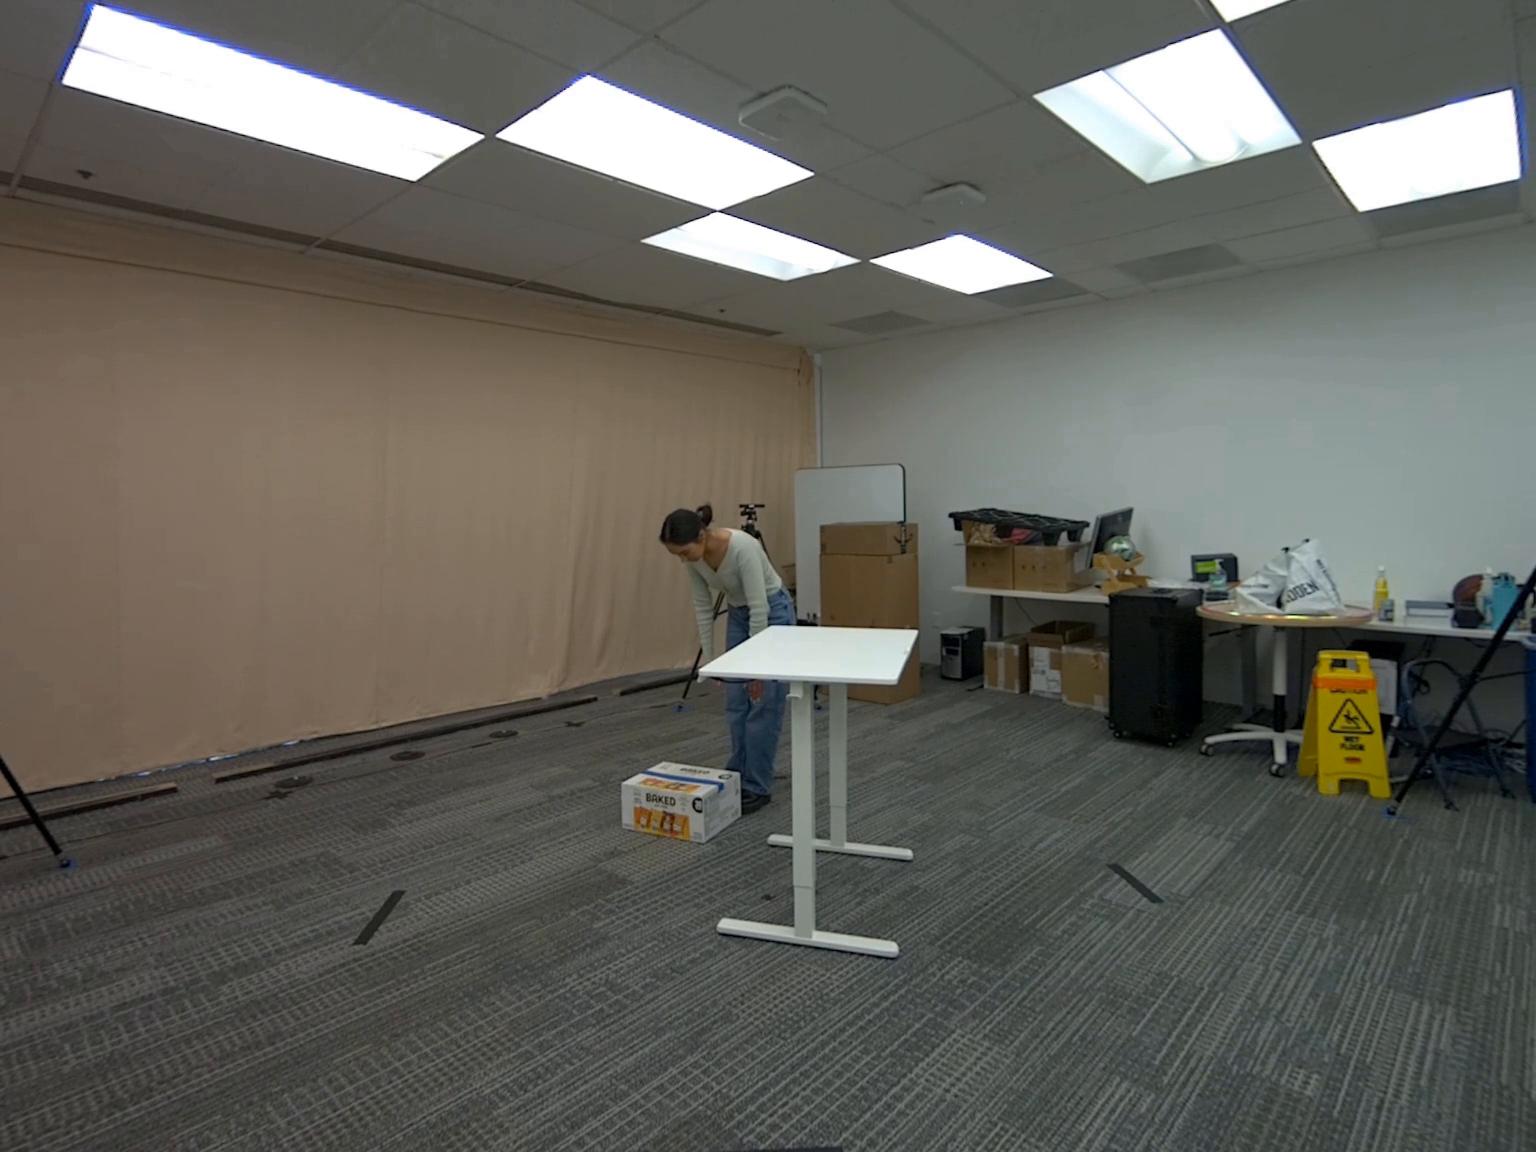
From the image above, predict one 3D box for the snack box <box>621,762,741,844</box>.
[{"bbox_3d":[-0.378,0.985,3.698,0.416,0.205,0.332,1,5,27],"label":"snack box"}]
